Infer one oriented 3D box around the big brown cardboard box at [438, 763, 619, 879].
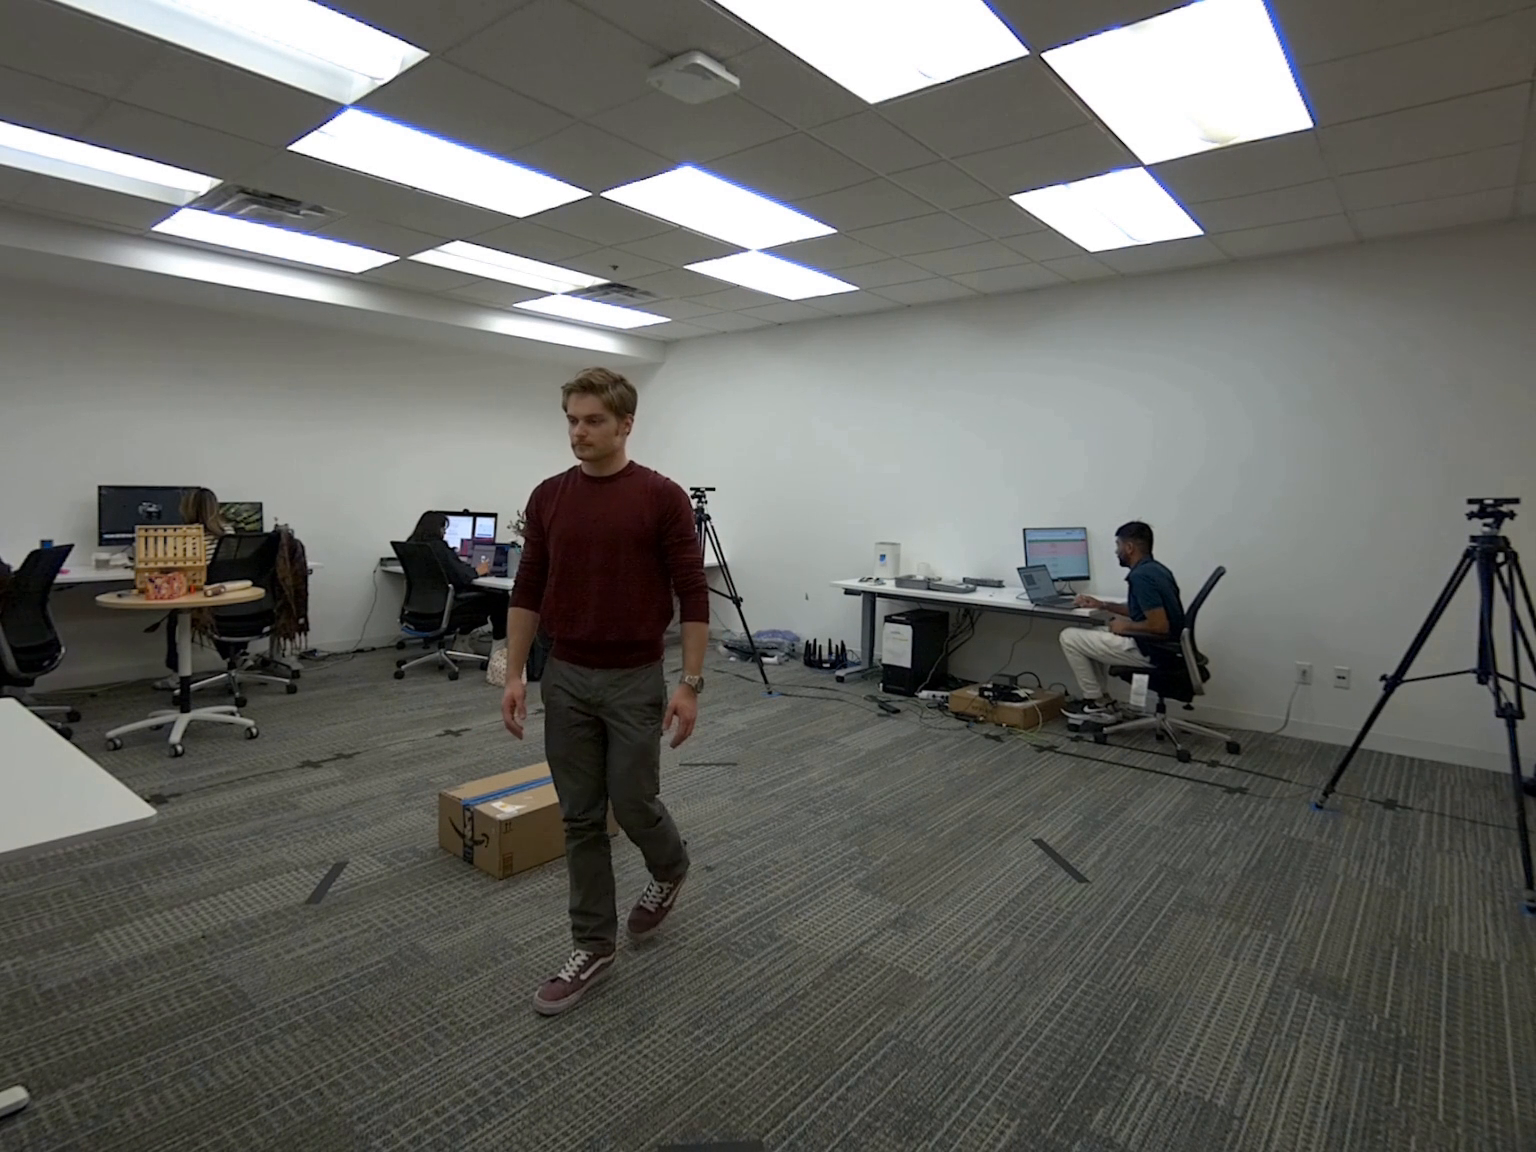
[{"bbox_3d":[-0.942,0.924,3.320,0.431,0.232,0.571,5,6,39],"label":"big brown cardboard box"}]
